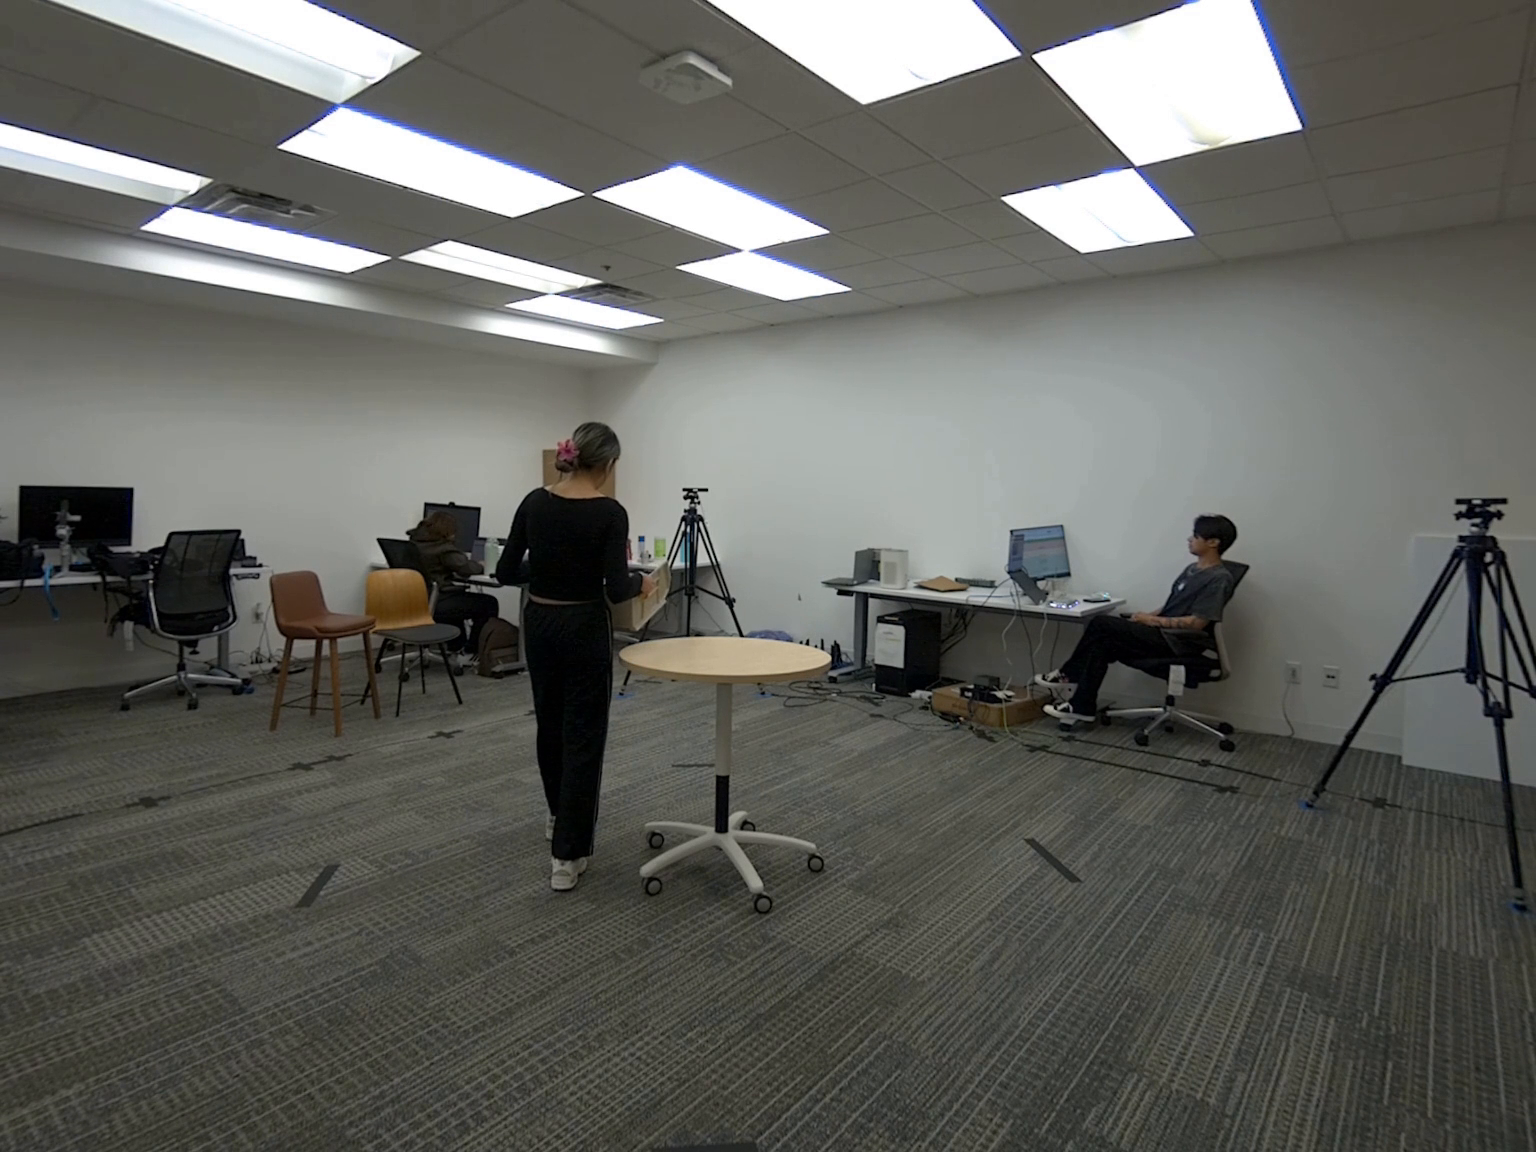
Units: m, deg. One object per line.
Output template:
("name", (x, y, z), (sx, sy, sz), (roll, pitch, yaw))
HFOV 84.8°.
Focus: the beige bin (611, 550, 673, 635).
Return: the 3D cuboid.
("beige bin", (-0.651, 0.043, 3.391), (0.430, 0.186, 0.377), (6, 21, 14))
